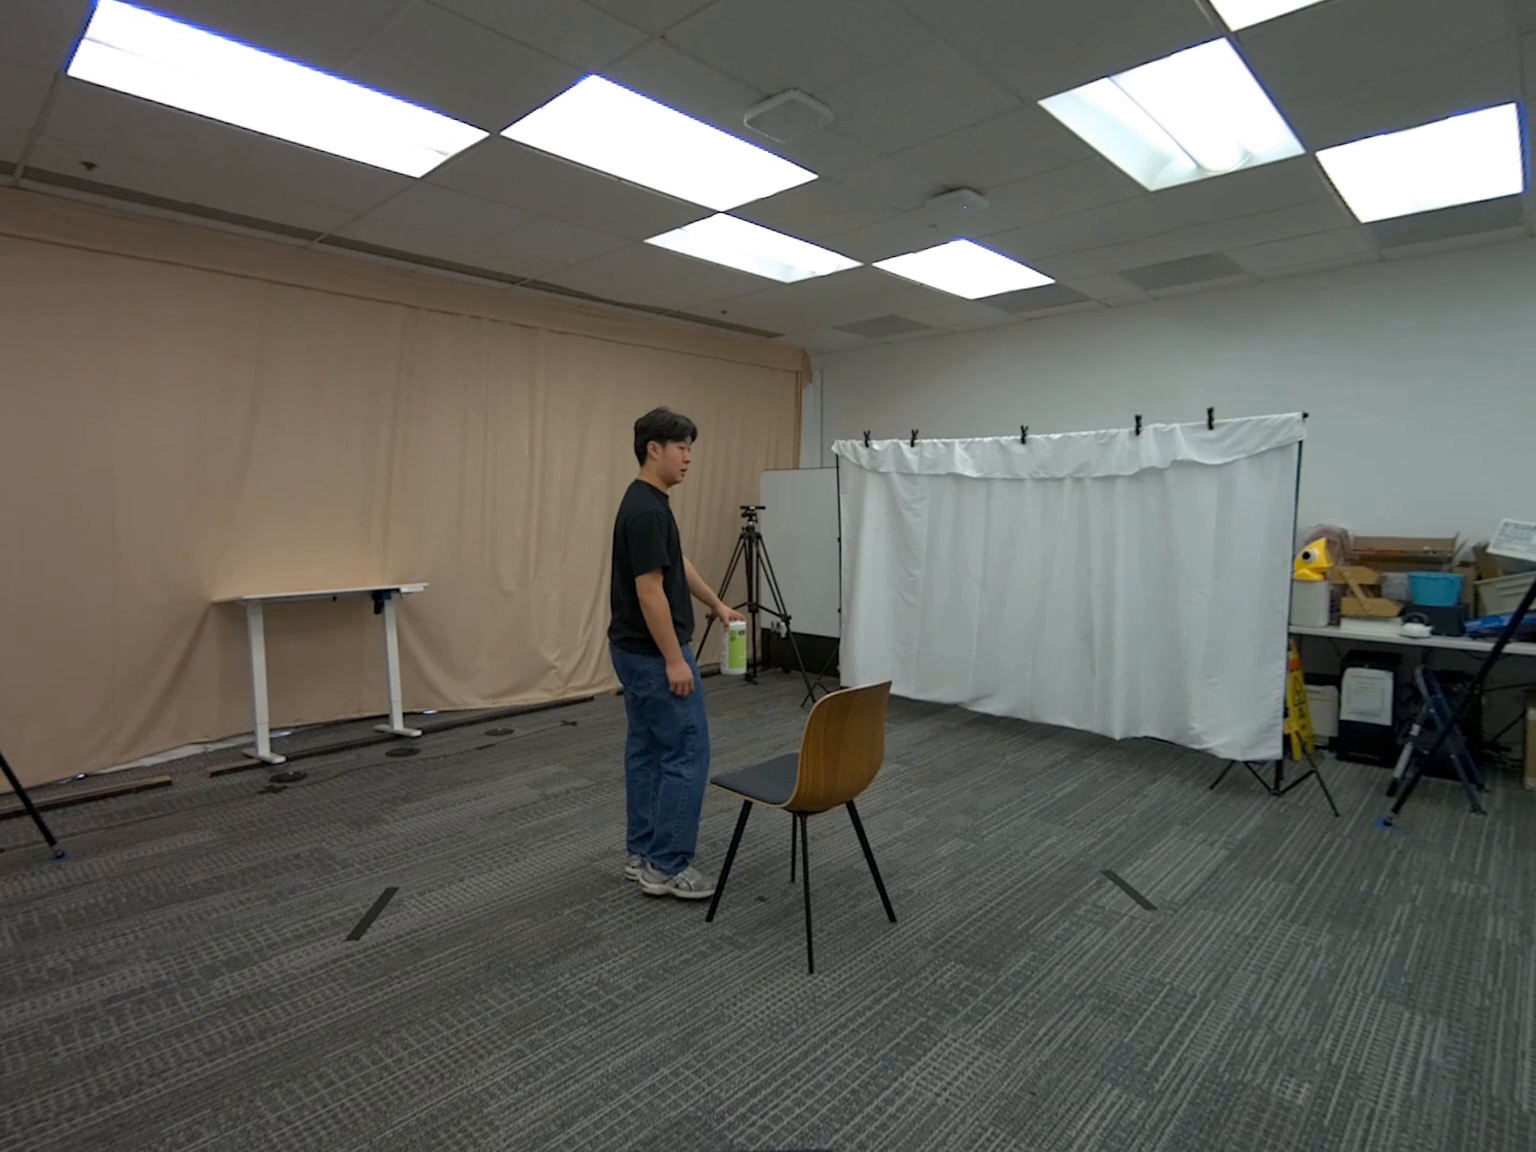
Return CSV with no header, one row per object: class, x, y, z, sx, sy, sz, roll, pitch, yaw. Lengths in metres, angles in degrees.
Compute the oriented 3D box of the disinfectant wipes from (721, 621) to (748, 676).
disinfectant wipes,-0.138,0.297,3.546,0.118,0.217,0.118,0,4,-2
